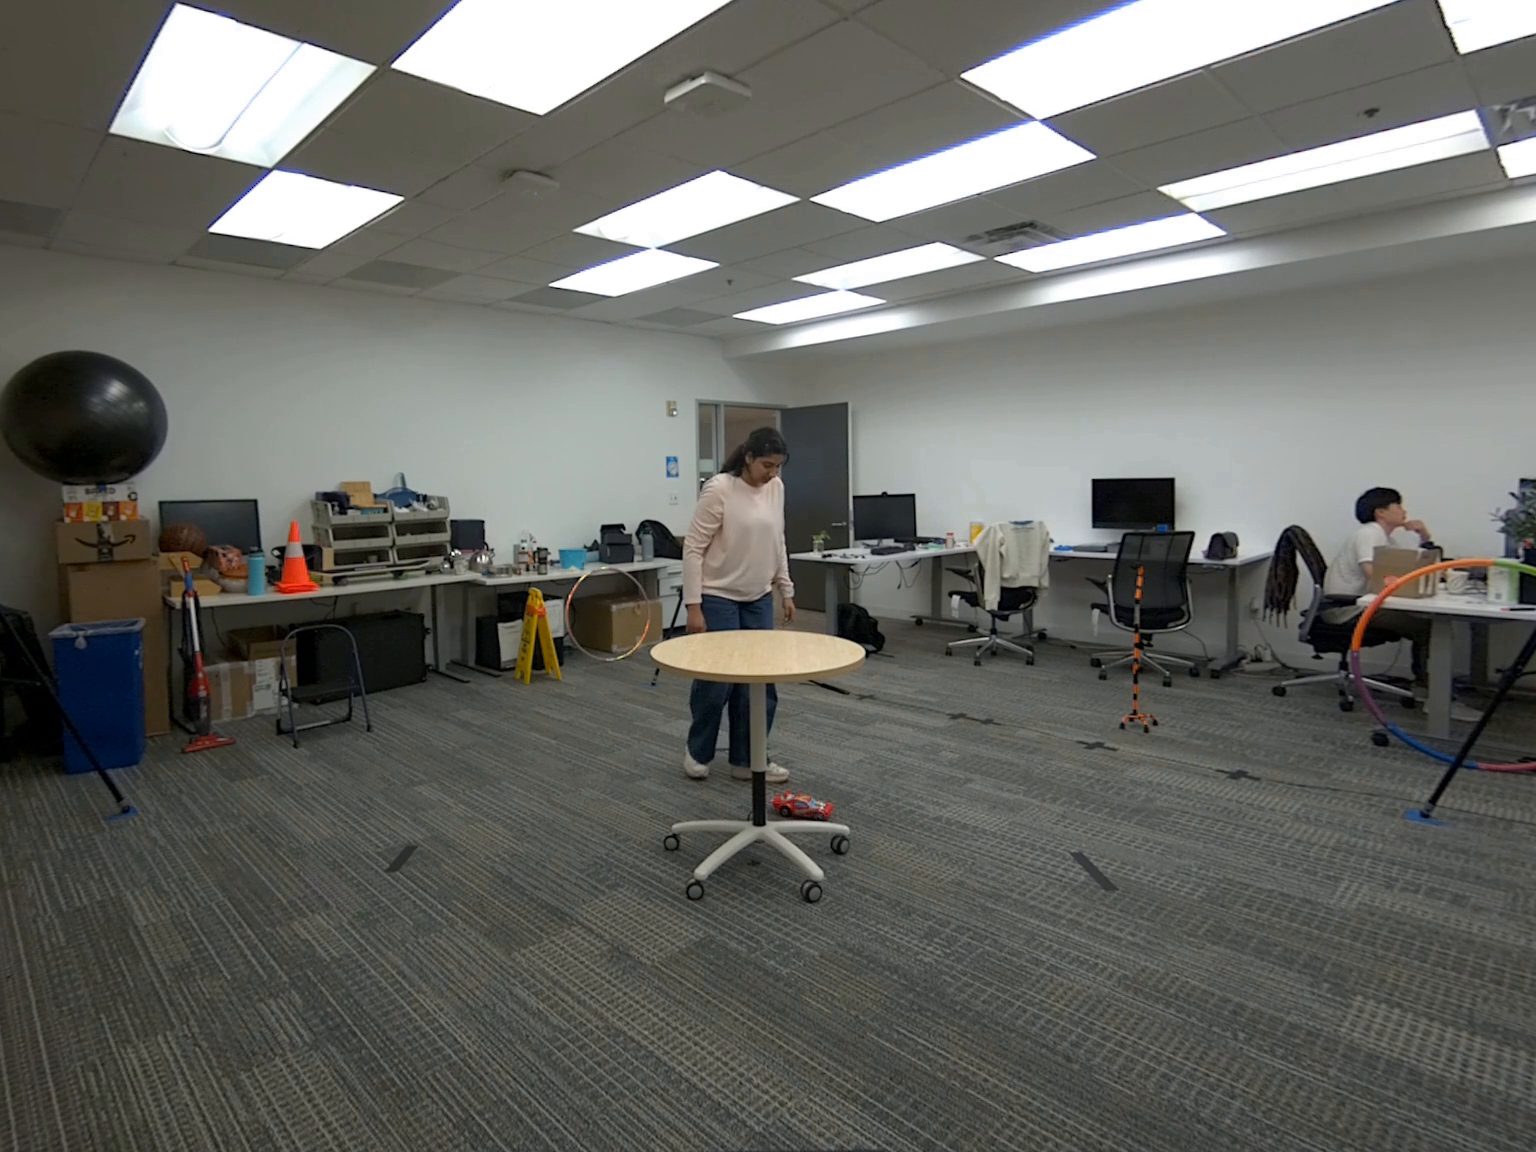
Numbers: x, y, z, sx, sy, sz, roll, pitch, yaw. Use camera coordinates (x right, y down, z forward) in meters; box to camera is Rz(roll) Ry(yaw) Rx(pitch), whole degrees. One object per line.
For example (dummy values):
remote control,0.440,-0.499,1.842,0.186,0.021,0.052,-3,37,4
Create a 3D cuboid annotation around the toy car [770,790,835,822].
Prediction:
toy car,0.137,0.956,3.543,0.261,0.082,0.128,13,11,21
